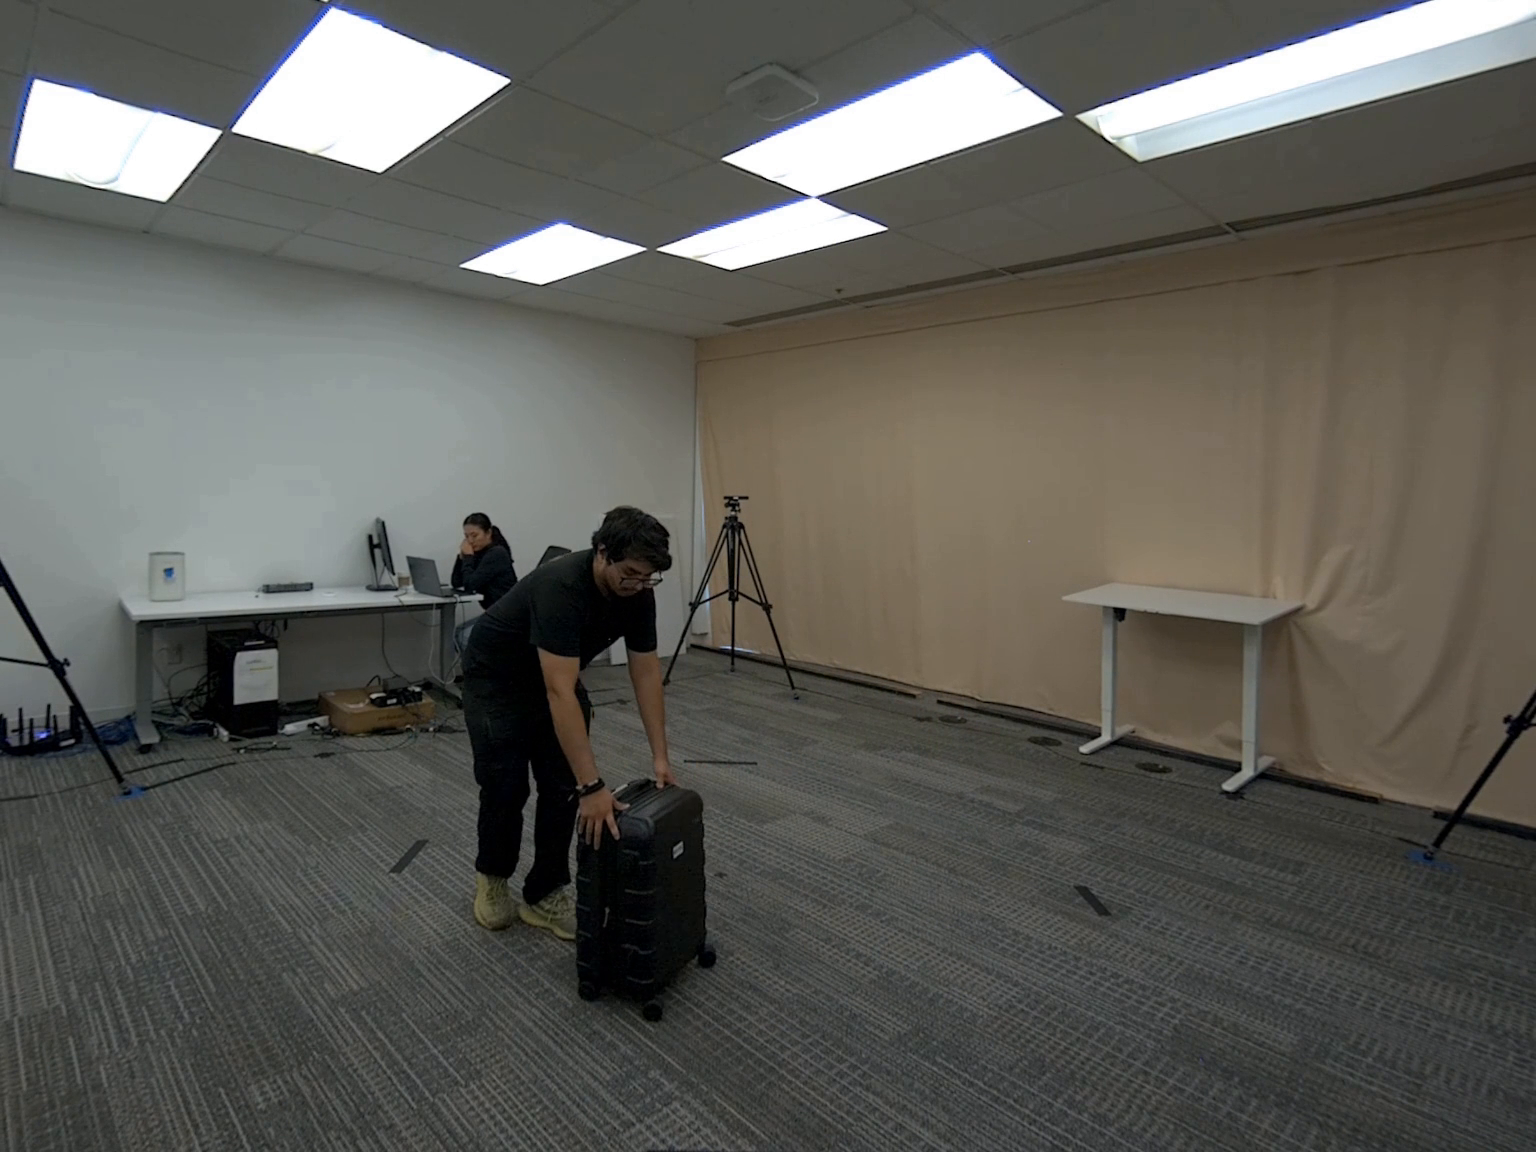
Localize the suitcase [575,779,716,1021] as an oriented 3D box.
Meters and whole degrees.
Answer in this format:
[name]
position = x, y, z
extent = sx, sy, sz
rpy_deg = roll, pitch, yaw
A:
[suitcase]
position = -0.362, 0.894, 2.398
extent = 0.253, 0.548, 0.369
rpy_deg = 1, 4, 24
